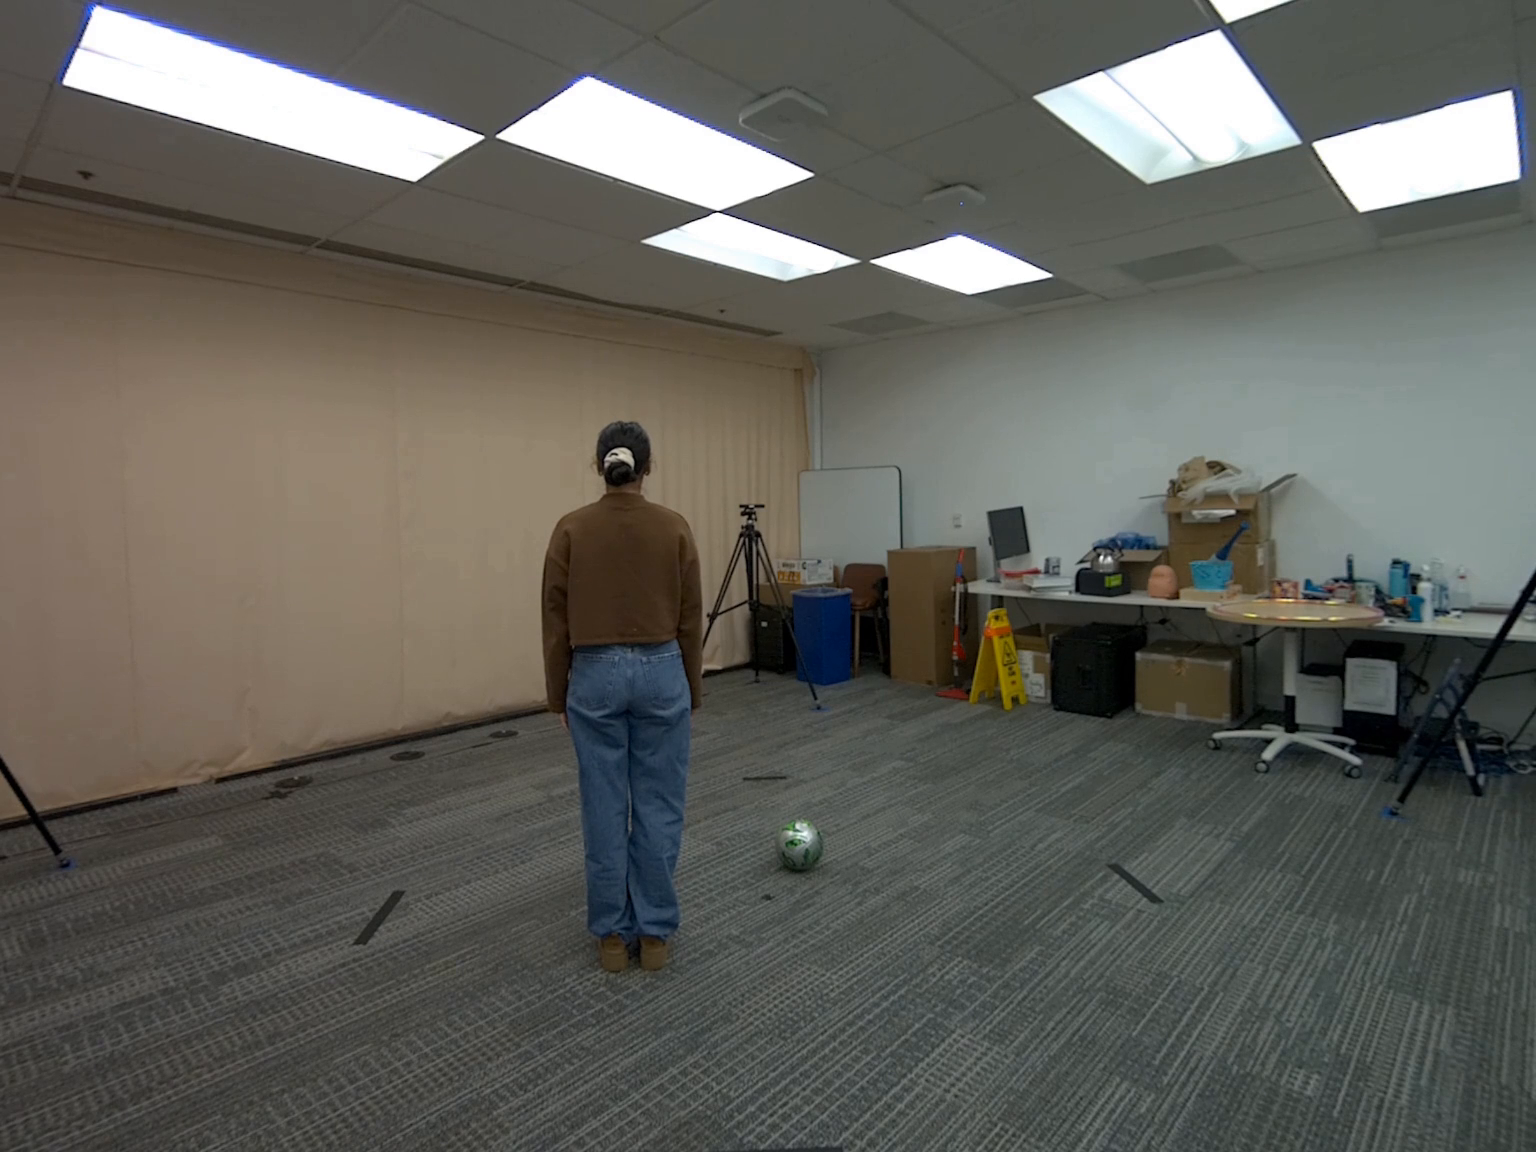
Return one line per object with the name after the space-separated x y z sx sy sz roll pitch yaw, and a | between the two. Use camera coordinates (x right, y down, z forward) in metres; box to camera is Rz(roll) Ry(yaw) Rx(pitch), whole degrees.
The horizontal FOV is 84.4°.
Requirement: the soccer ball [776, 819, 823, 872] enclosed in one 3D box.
0.122 1.023 3.215 0.187 0.187 0.188 -1 4 -2 | soccer ball
